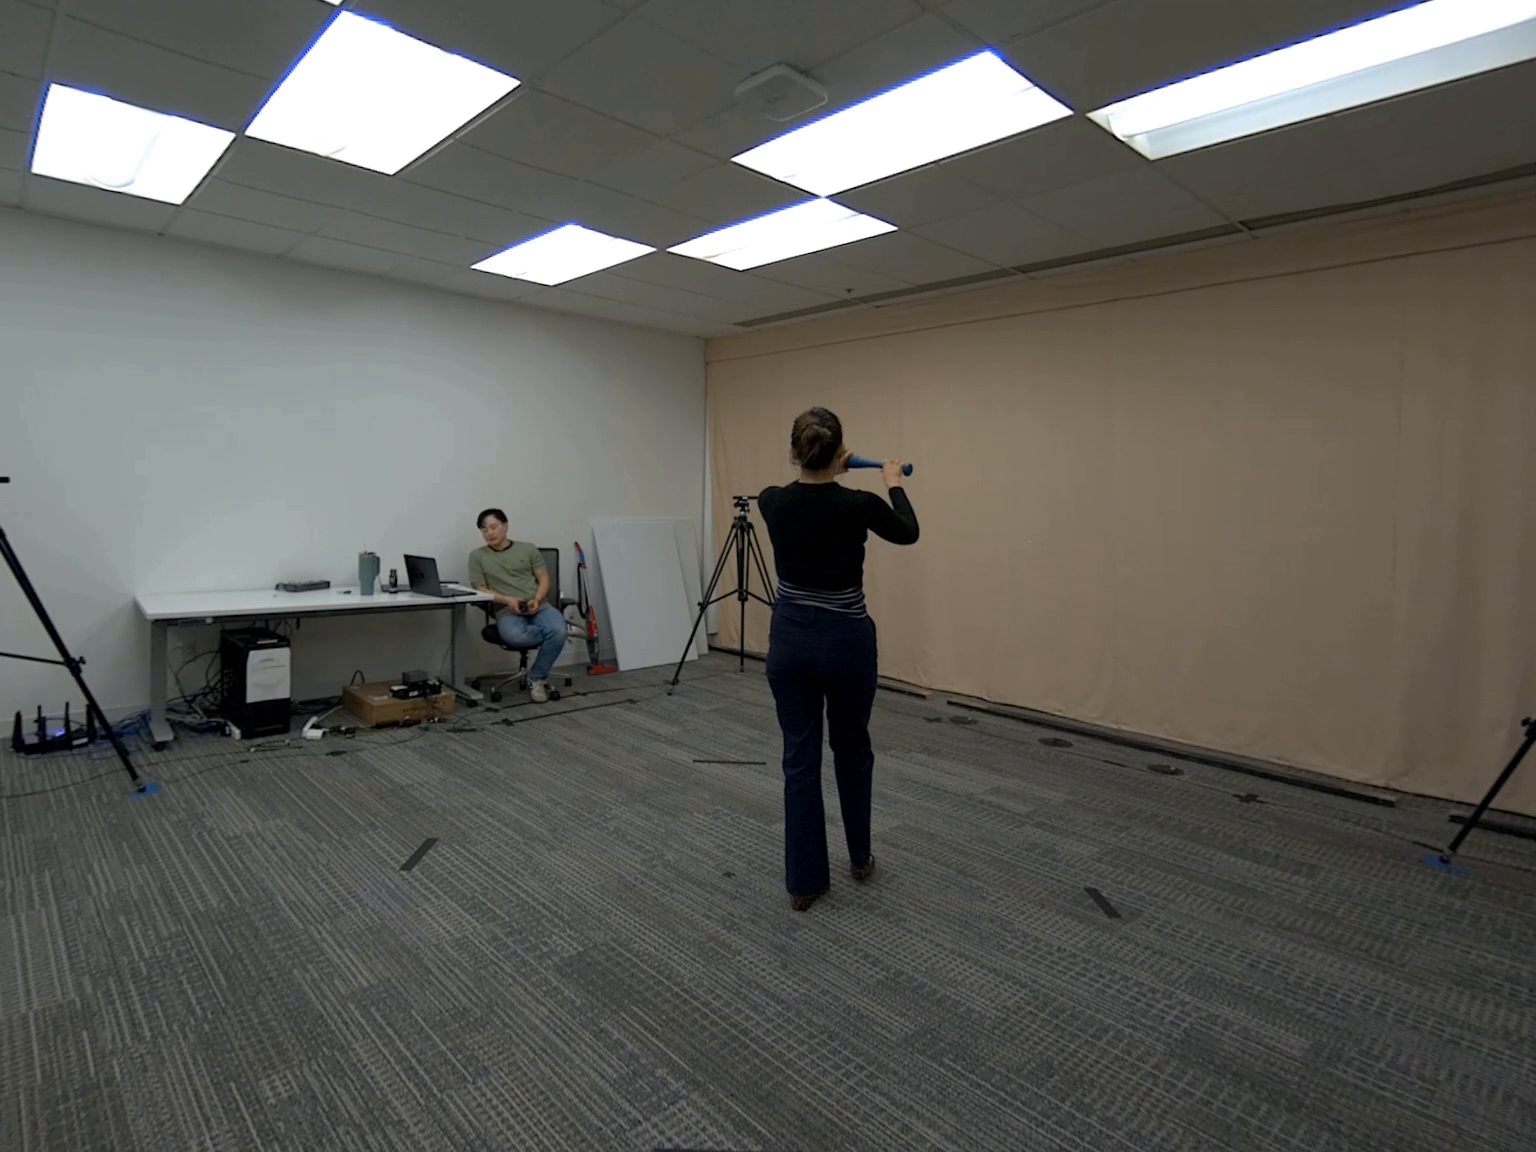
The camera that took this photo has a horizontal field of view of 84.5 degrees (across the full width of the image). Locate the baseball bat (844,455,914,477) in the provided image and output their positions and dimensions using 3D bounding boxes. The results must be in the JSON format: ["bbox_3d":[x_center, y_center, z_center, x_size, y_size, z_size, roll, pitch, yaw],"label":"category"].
[{"bbox_3d":[0.308,-0.463,3.352,0.558,0.088,0.087,14,11,37],"label":"baseball bat"}]
